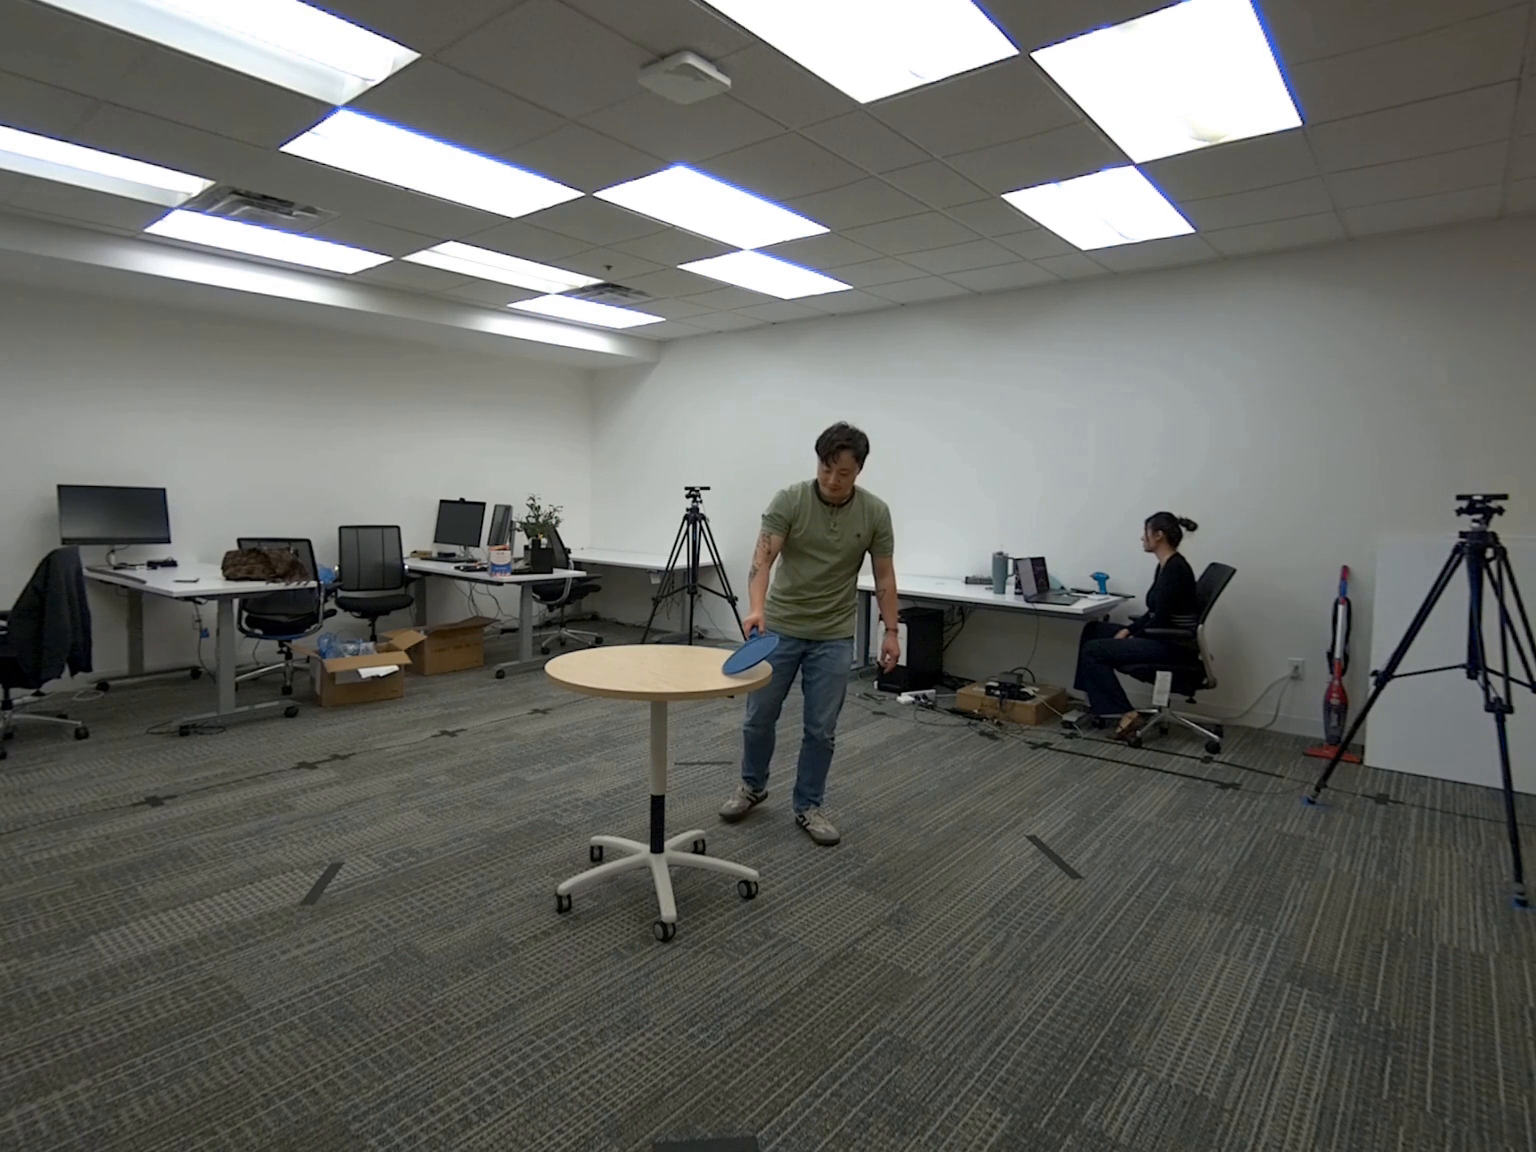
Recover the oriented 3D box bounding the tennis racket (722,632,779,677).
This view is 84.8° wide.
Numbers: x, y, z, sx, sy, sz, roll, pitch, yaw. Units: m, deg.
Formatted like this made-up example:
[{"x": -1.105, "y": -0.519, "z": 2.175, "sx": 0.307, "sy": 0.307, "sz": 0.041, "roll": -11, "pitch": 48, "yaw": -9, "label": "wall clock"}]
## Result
[{"x": -0.077, "y": 0.237, "z": 2.893, "sx": 0.214, "sy": 0.031, "sz": 0.436, "roll": -29, "pitch": 11, "yaw": 8, "label": "tennis racket"}]
